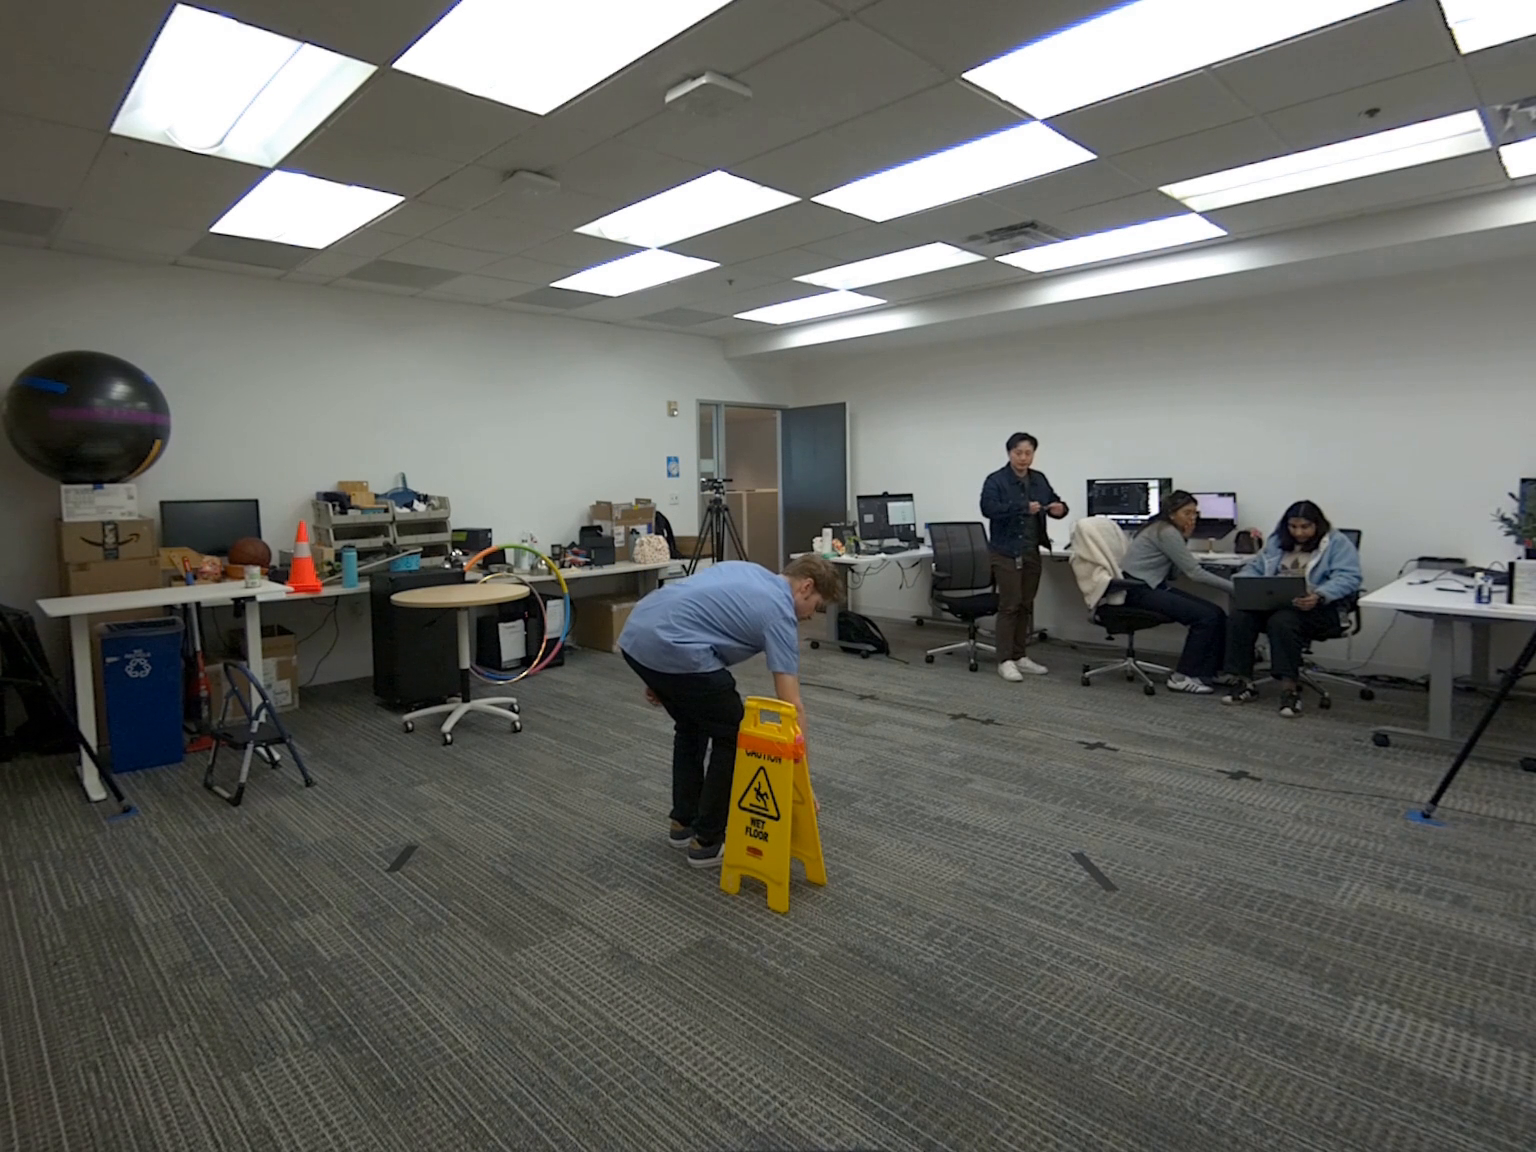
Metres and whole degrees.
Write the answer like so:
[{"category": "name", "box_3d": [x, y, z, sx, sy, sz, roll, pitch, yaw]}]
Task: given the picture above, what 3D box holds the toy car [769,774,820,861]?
[{"category": "toy car", "box_3d": [0.092, 0.847, 3.014, 0.134, 0.252, 0.082, 2, 12, 35]}]
